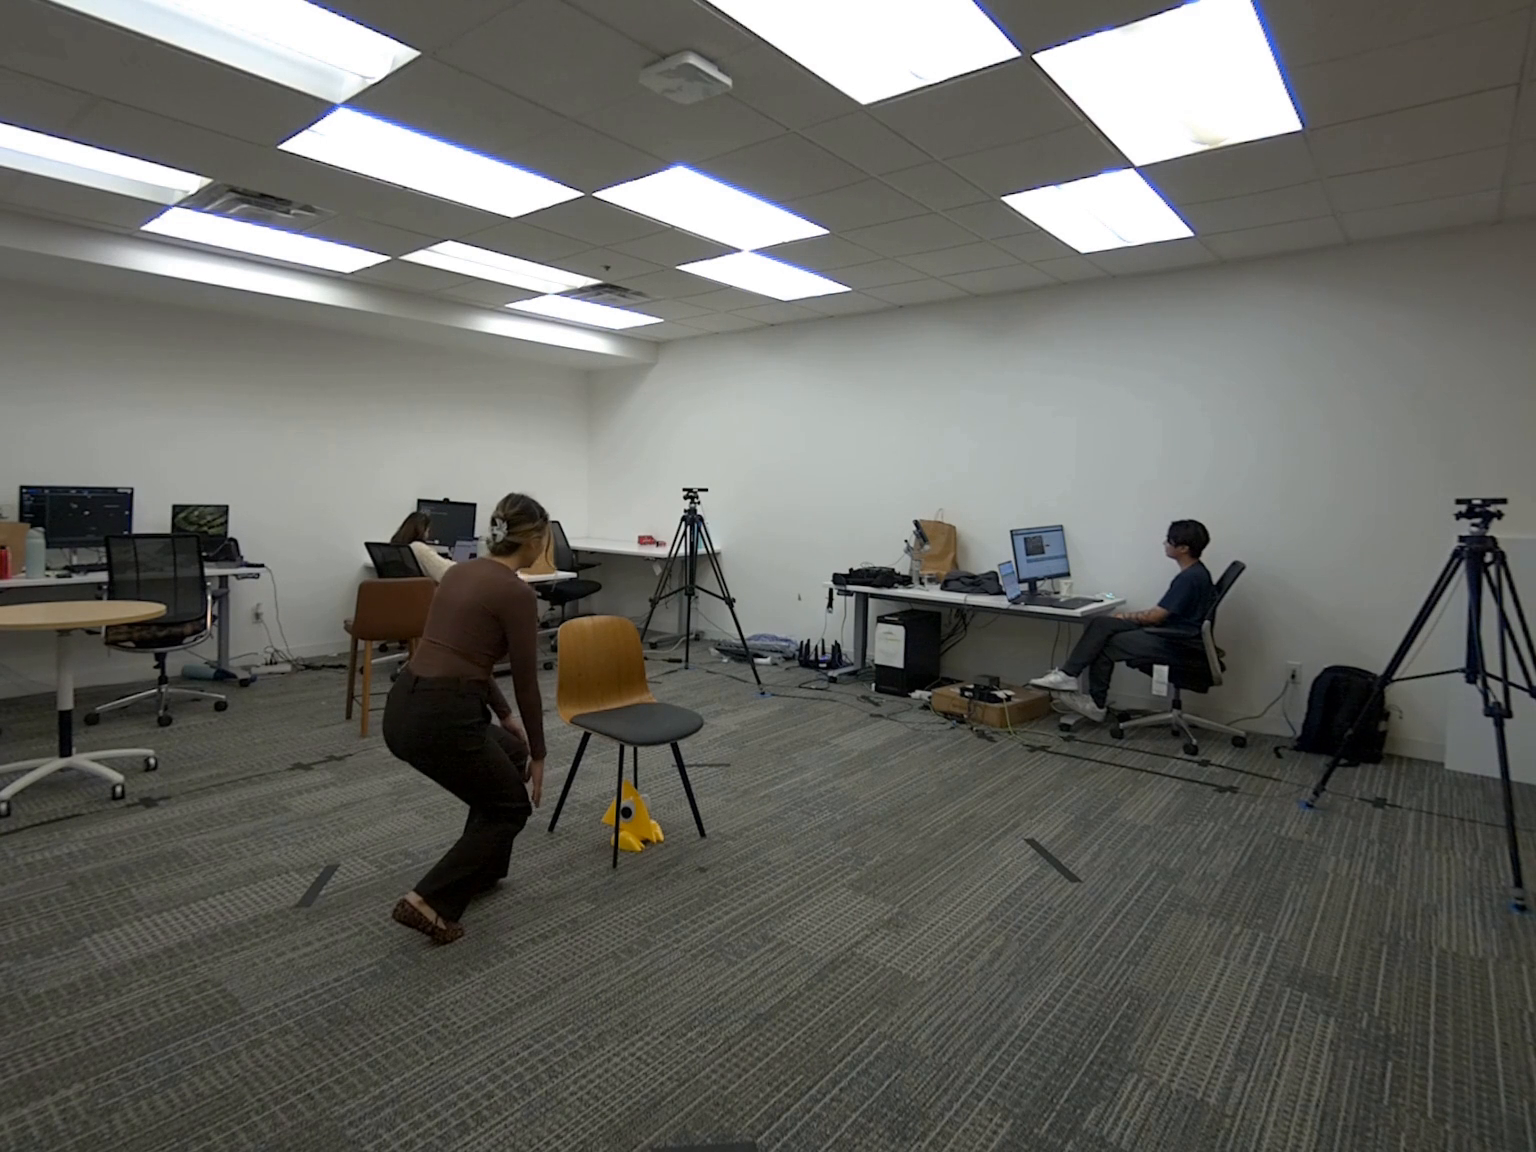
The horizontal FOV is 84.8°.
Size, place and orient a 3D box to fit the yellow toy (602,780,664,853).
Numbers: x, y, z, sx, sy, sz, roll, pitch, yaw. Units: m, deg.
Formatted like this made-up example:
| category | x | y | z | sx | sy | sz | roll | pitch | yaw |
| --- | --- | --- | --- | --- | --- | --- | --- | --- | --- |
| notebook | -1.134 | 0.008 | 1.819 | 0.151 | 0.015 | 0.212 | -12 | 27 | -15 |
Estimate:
| category | x | y | z | sx | sy | sz | roll | pitch | yaw |
| --- | --- | --- | --- | --- | --- | --- | --- | --- | --- |
| yellow toy | -0.533 | 0.929 | 3.362 | 0.199 | 0.230 | 0.199 | 4 | 4 | 39 |
